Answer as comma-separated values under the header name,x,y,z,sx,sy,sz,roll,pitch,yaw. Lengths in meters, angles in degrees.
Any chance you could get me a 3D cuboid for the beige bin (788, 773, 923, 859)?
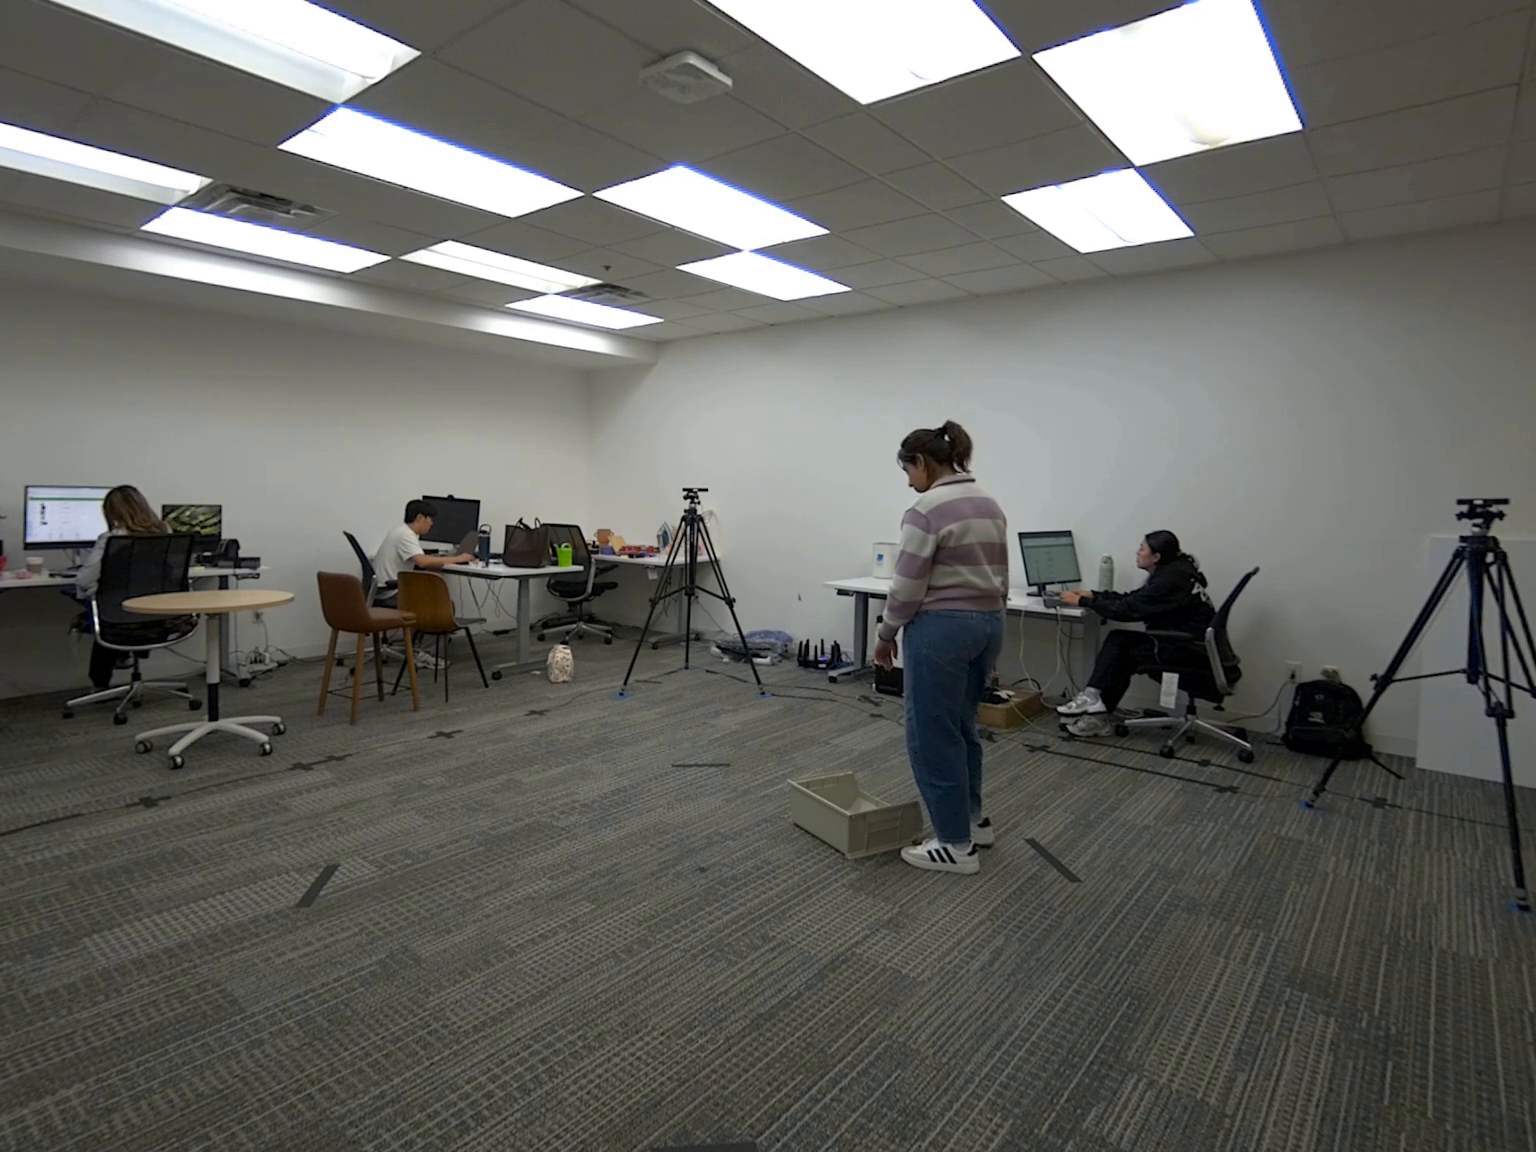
name,x,y,z,sx,sy,sz,roll,pitch,yaw
beige bin,0.341,0.958,3.477,0.367,0.188,0.436,-4,7,-31
